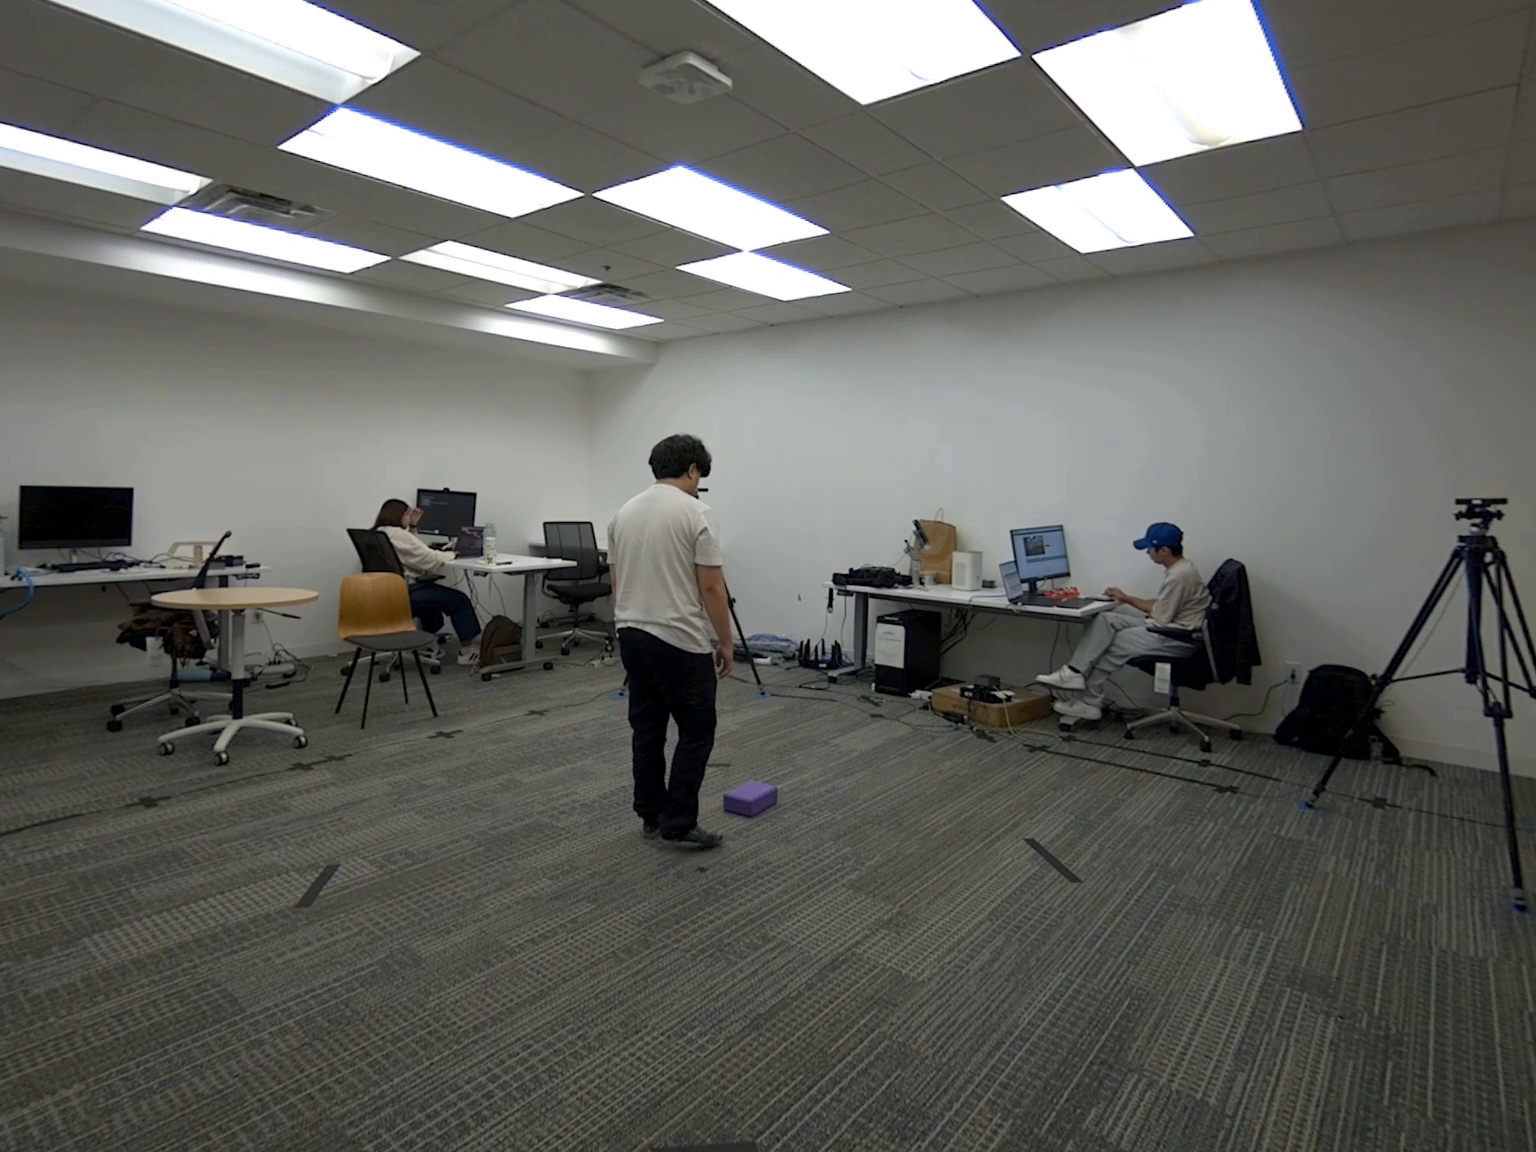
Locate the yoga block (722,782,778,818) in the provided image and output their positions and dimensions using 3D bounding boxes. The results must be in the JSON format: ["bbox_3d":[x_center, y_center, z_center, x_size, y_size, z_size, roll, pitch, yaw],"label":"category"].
[{"bbox_3d":[-0.085,0.974,3.737,0.153,0.076,0.223,3,5,32],"label":"yoga block"}]
